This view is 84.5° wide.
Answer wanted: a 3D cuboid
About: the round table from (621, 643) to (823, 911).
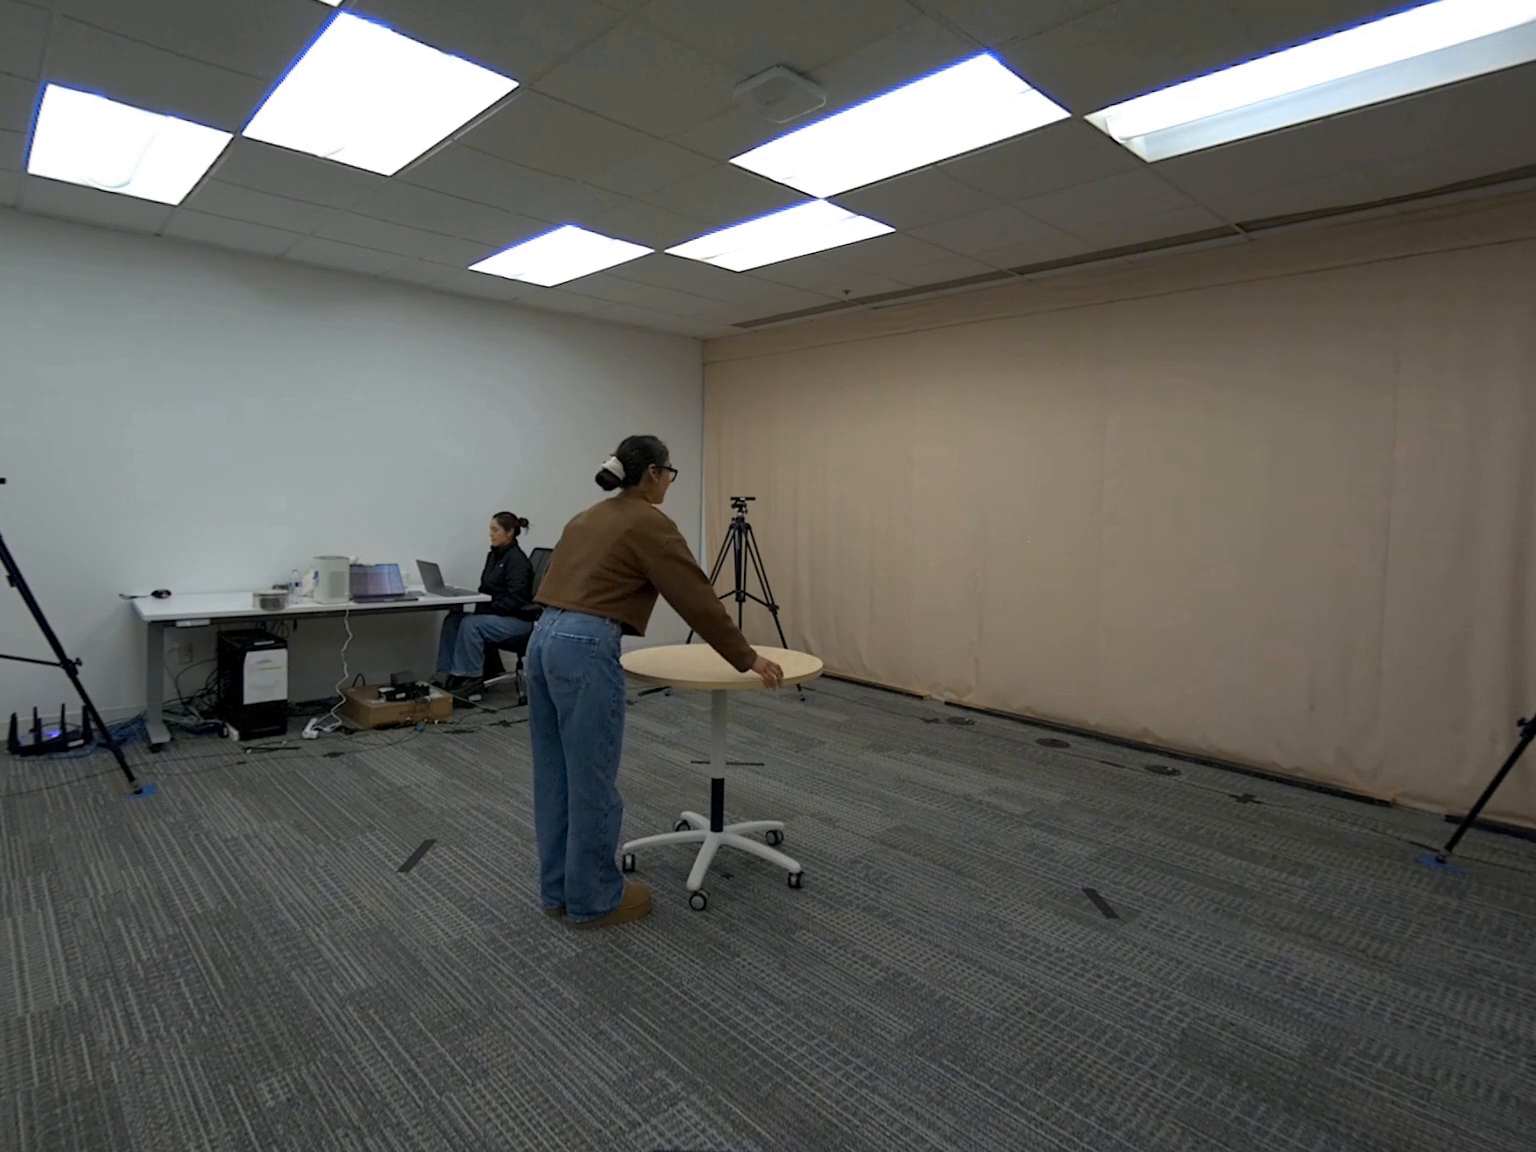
[{"bbox_3d":[-0.187,0.710,3.161,0.763,0.792,0.766,1,4,-1],"label":"round table"}]
